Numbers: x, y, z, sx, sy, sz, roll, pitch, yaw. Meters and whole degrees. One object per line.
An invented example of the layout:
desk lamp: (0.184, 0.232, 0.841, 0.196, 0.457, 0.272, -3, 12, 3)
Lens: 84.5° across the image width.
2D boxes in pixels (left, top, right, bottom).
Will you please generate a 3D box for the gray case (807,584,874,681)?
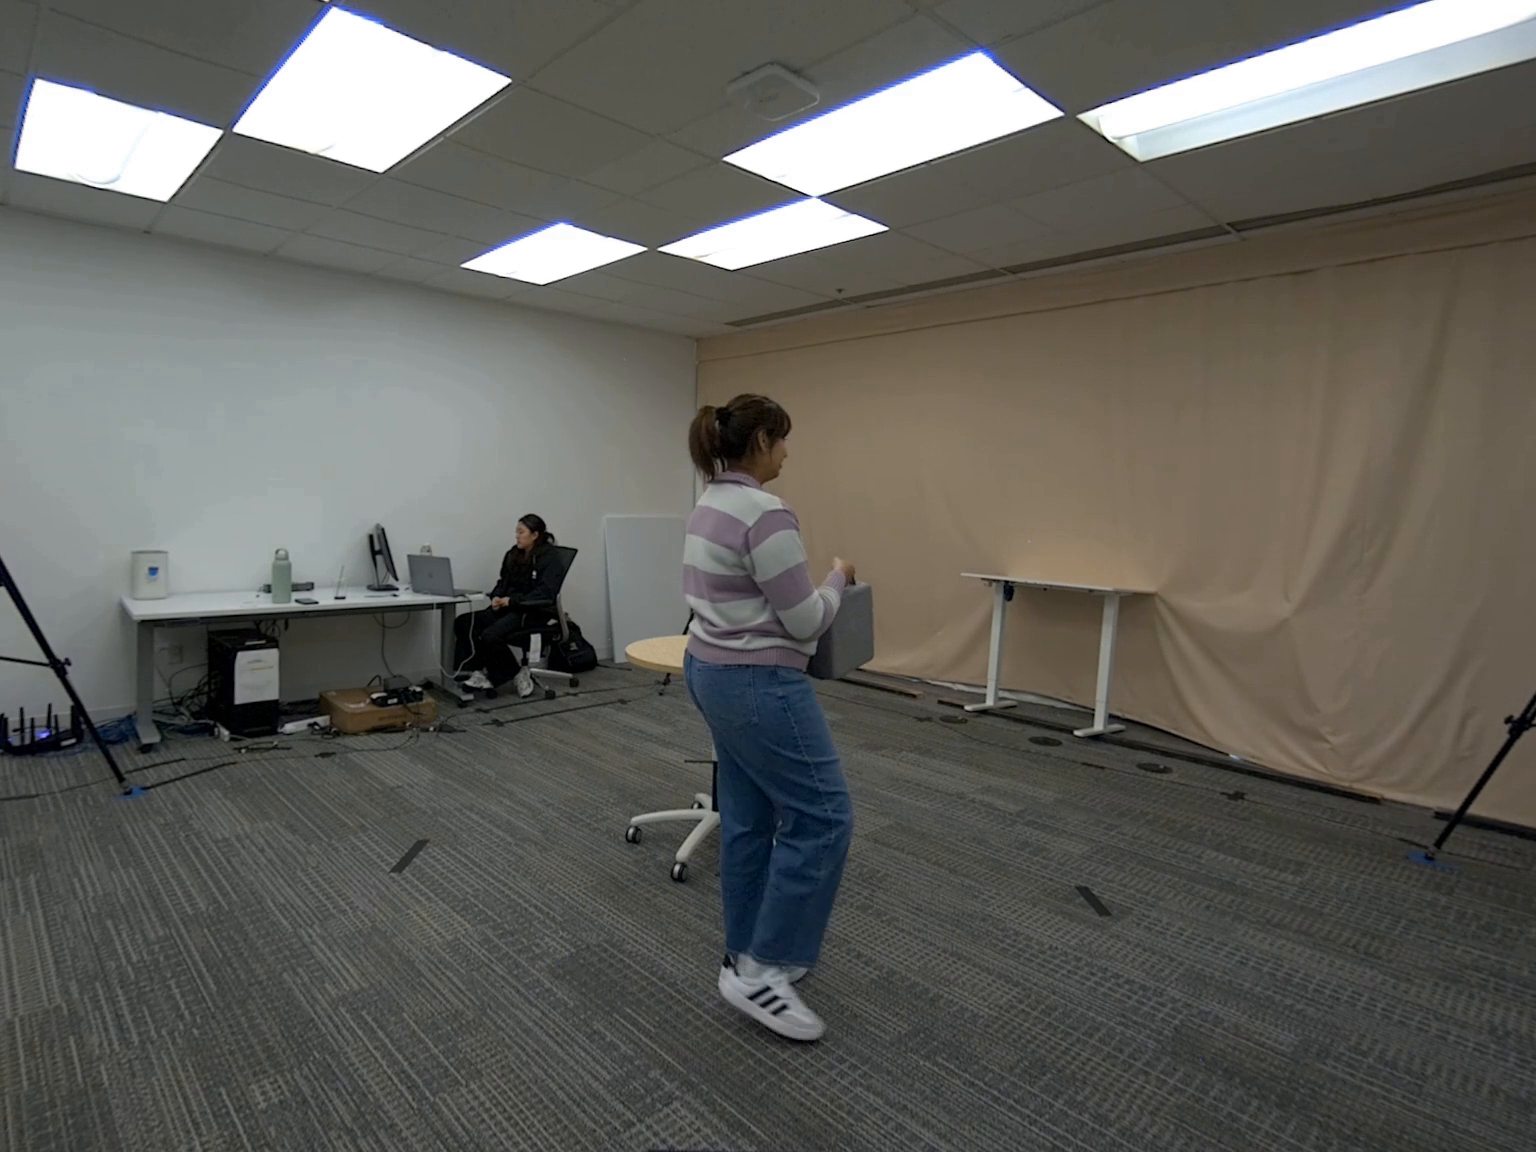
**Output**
gray case: (0.207, 0.155, 2.502, 0.107, 0.258, 0.253, 3, 13, 37)
